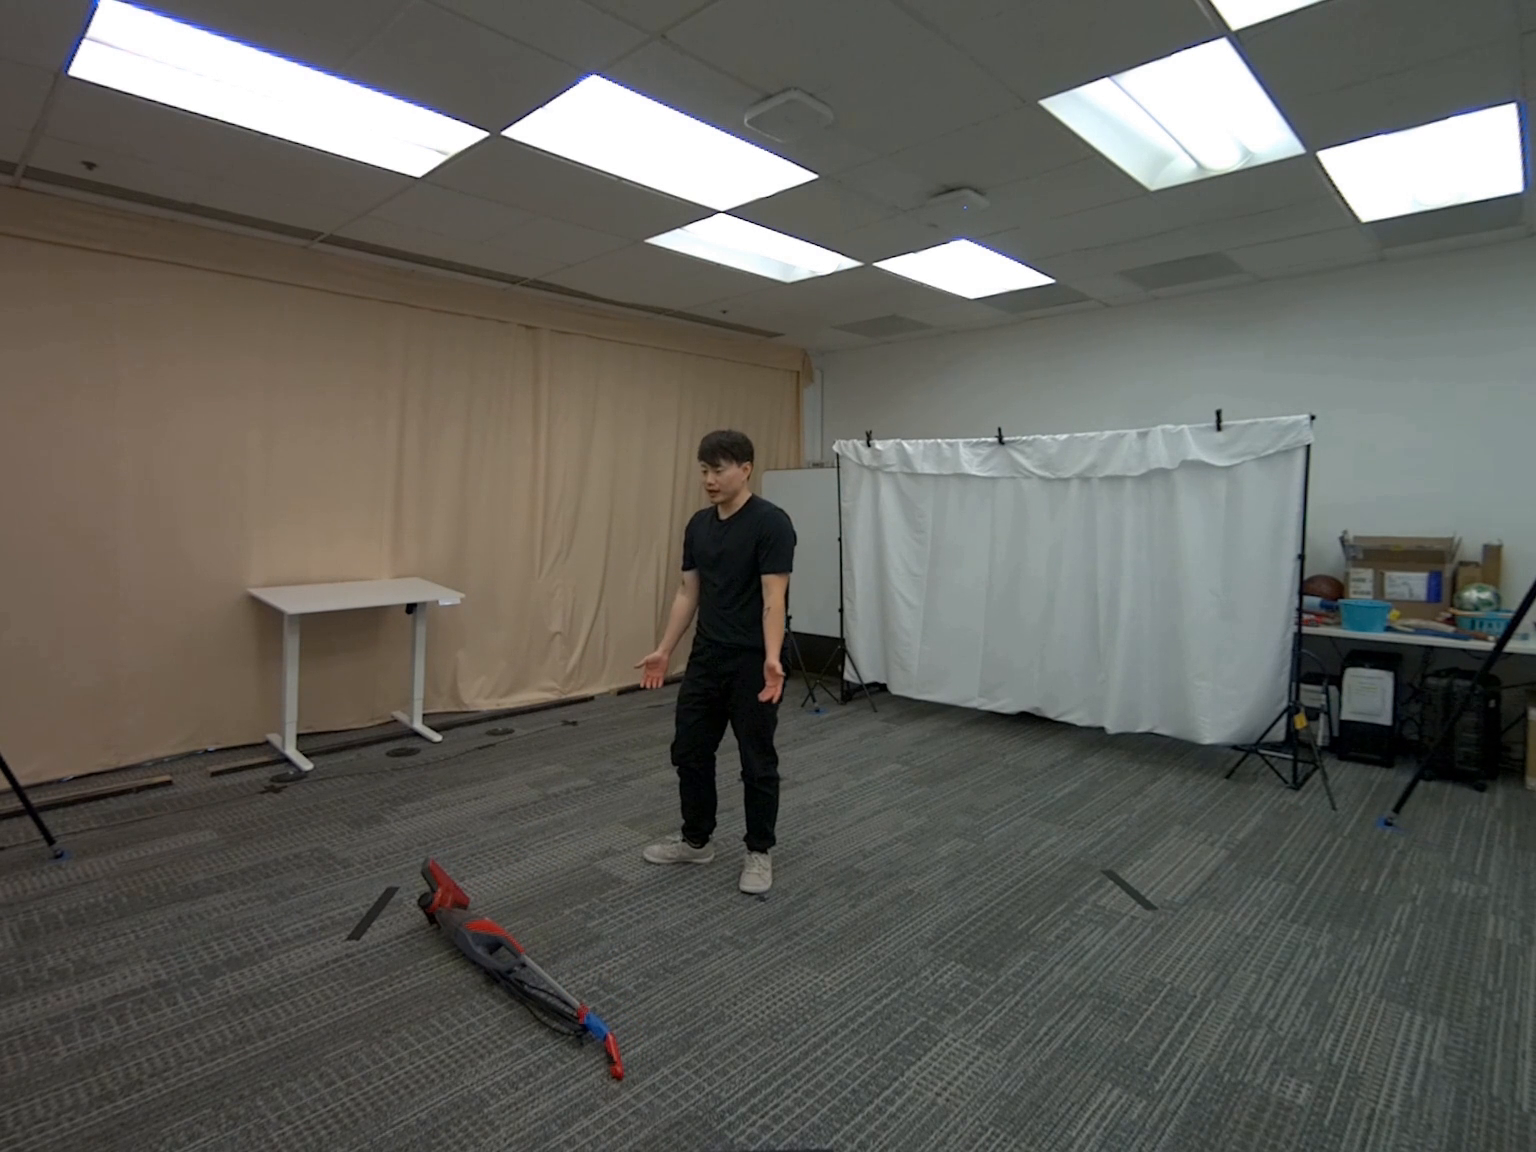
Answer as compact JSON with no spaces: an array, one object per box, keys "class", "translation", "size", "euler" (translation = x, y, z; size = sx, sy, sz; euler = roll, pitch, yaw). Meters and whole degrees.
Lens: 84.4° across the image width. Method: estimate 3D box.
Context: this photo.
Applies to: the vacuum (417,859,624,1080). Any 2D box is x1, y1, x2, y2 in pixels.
[{"class":"vacuum","translation":[-0.736,1.145,2.441],"size":[1.086,0.246,0.143],"euler":[10,47,46]}]
